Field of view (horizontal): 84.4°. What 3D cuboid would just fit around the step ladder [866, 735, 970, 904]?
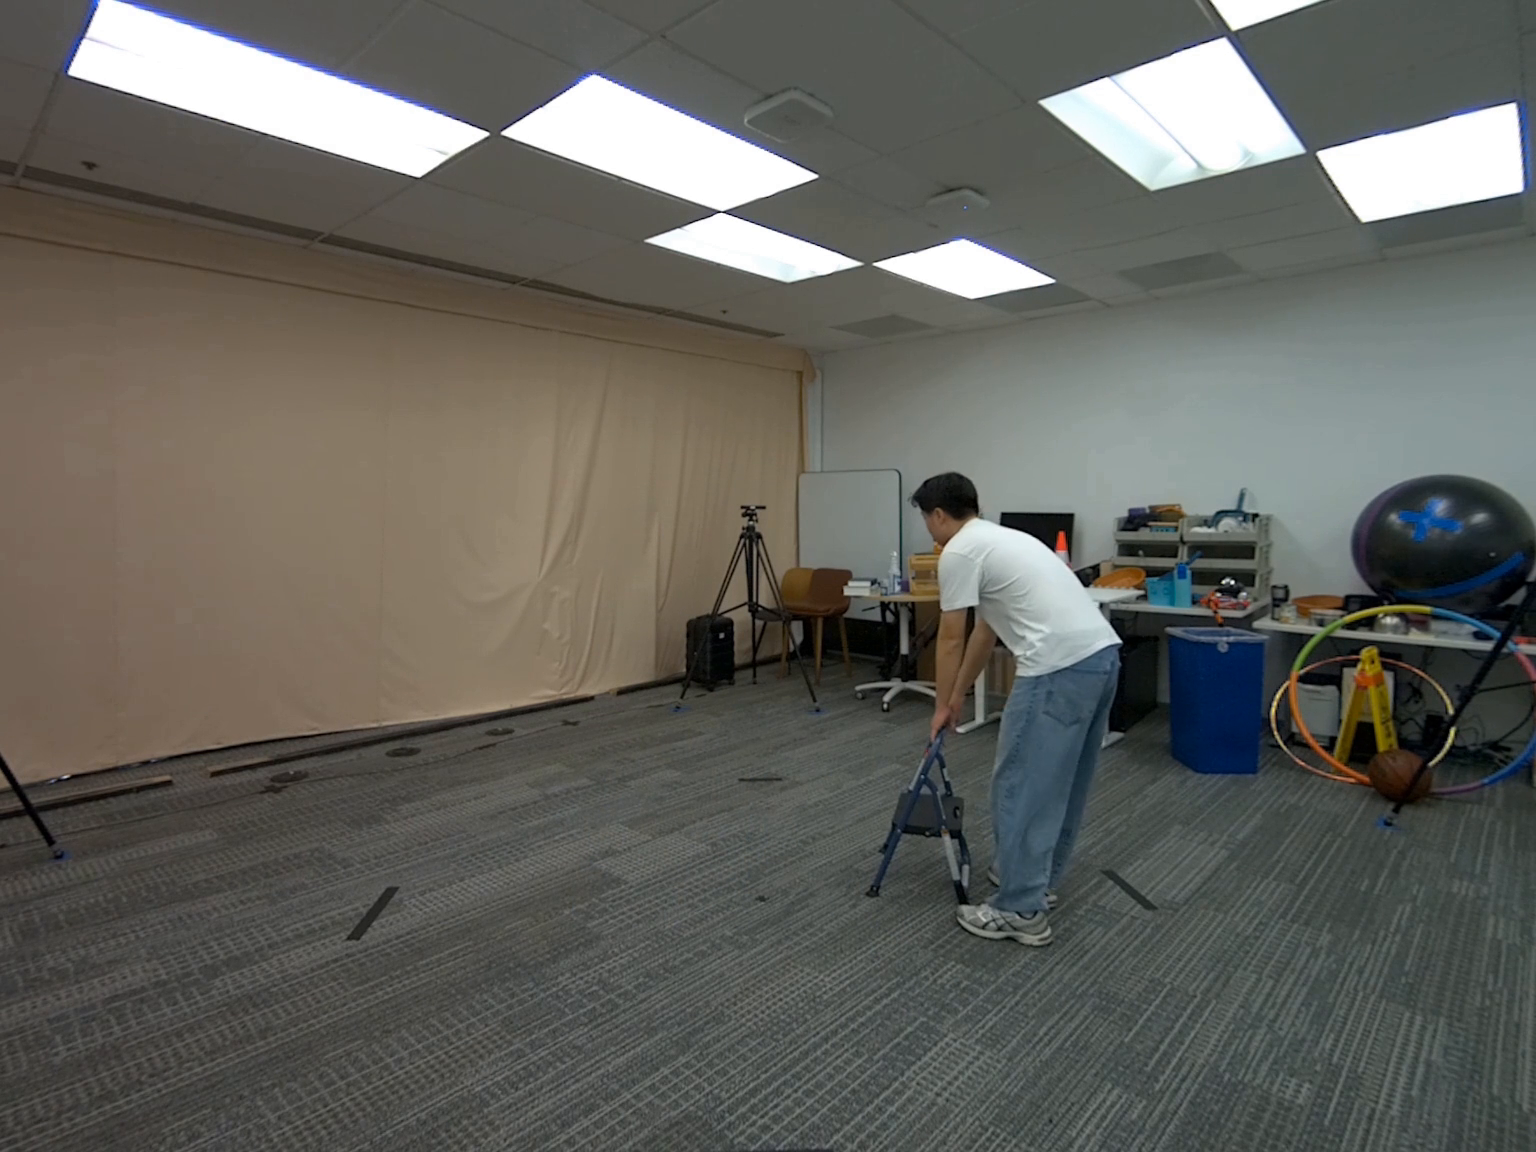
[{"bbox_3d":[0.577,0.827,3.138,0.356,0.605,0.424,1,3,16],"label":"step ladder"}]
